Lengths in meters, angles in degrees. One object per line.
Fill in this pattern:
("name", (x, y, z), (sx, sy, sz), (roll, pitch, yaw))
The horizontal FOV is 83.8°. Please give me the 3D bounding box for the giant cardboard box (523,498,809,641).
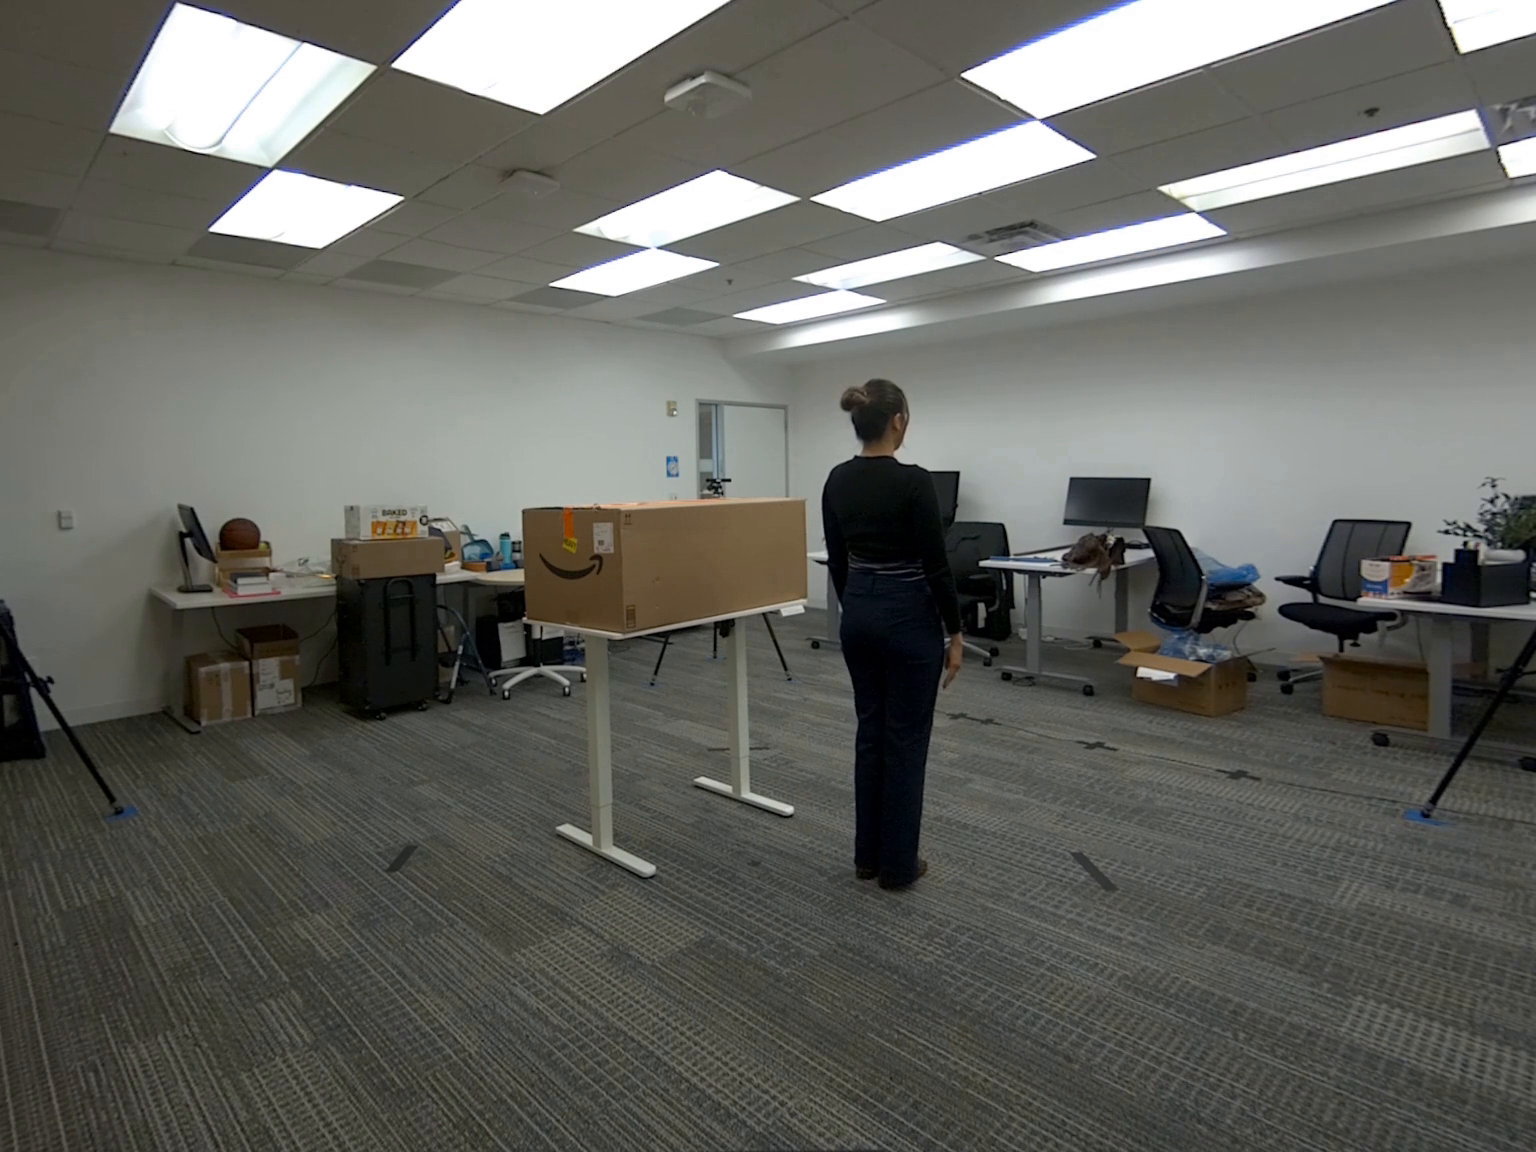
("giant cardboard box", (-0.368, -0.078, 3.403), (0.595, 0.424, 1.000), (2, 7, 40))
